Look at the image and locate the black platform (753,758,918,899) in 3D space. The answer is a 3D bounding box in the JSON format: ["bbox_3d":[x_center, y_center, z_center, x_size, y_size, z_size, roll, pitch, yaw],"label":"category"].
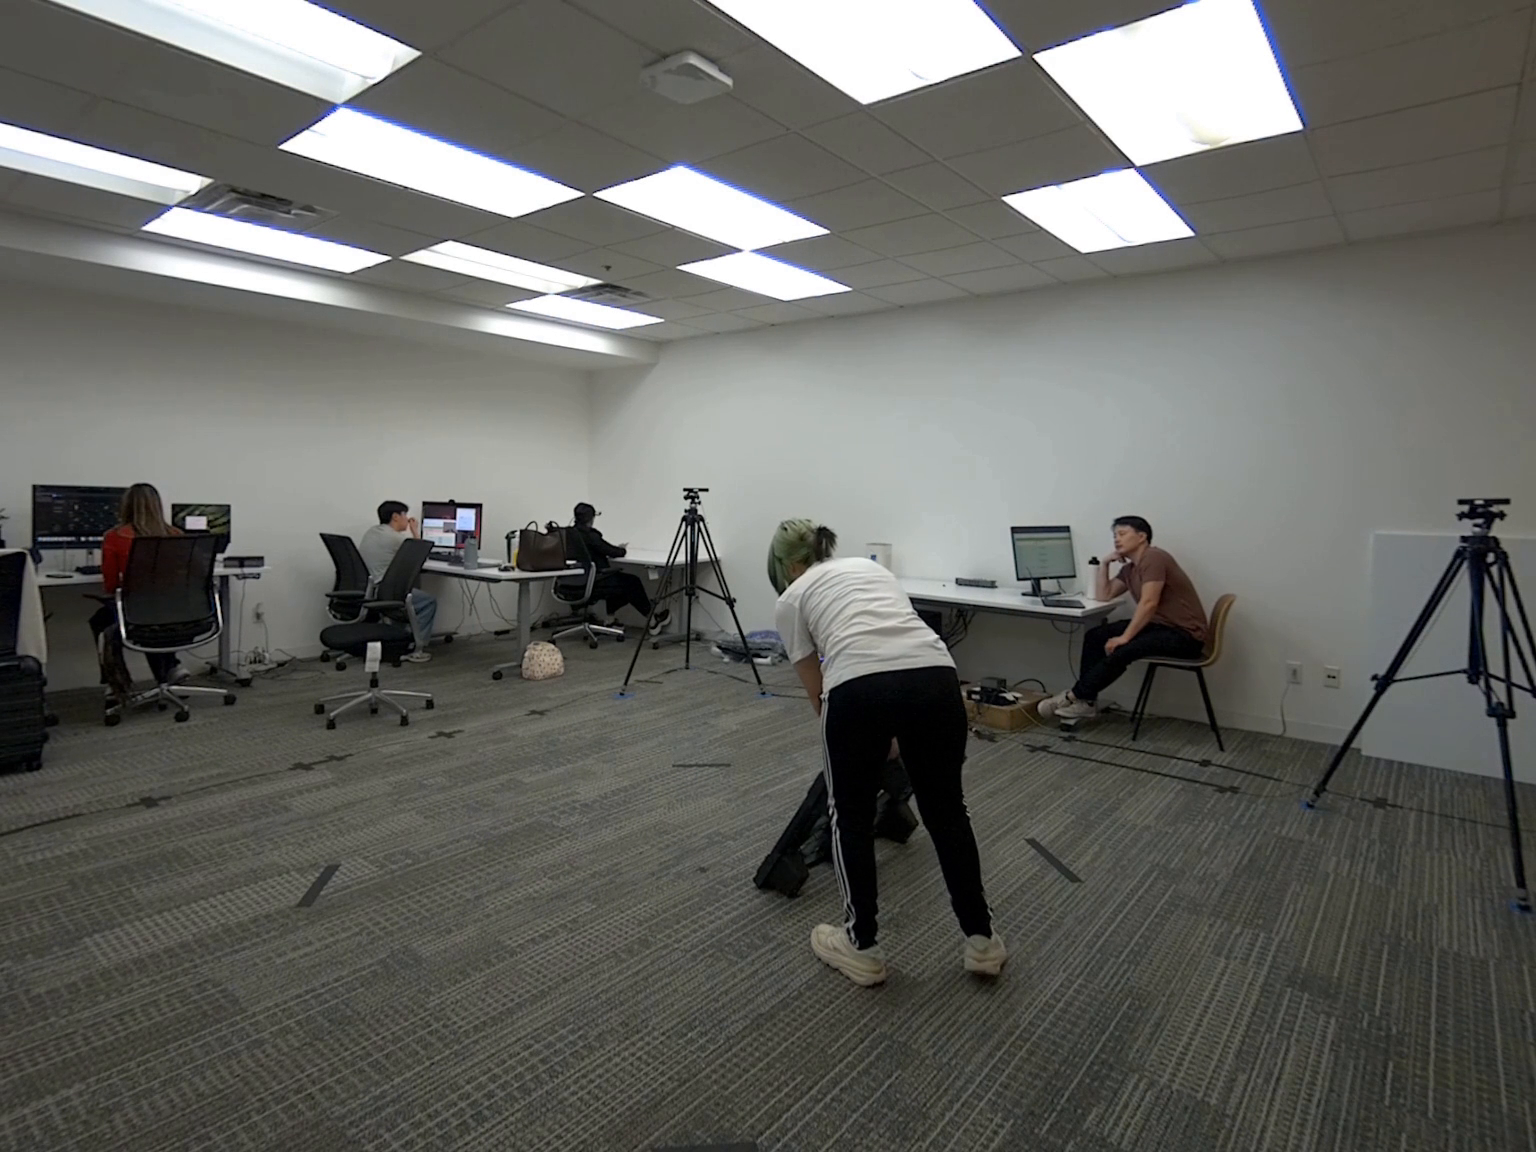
[{"bbox_3d":[0.357,0.847,3.091,0.781,0.599,0.149,-4,38,-46],"label":"black platform"}]
